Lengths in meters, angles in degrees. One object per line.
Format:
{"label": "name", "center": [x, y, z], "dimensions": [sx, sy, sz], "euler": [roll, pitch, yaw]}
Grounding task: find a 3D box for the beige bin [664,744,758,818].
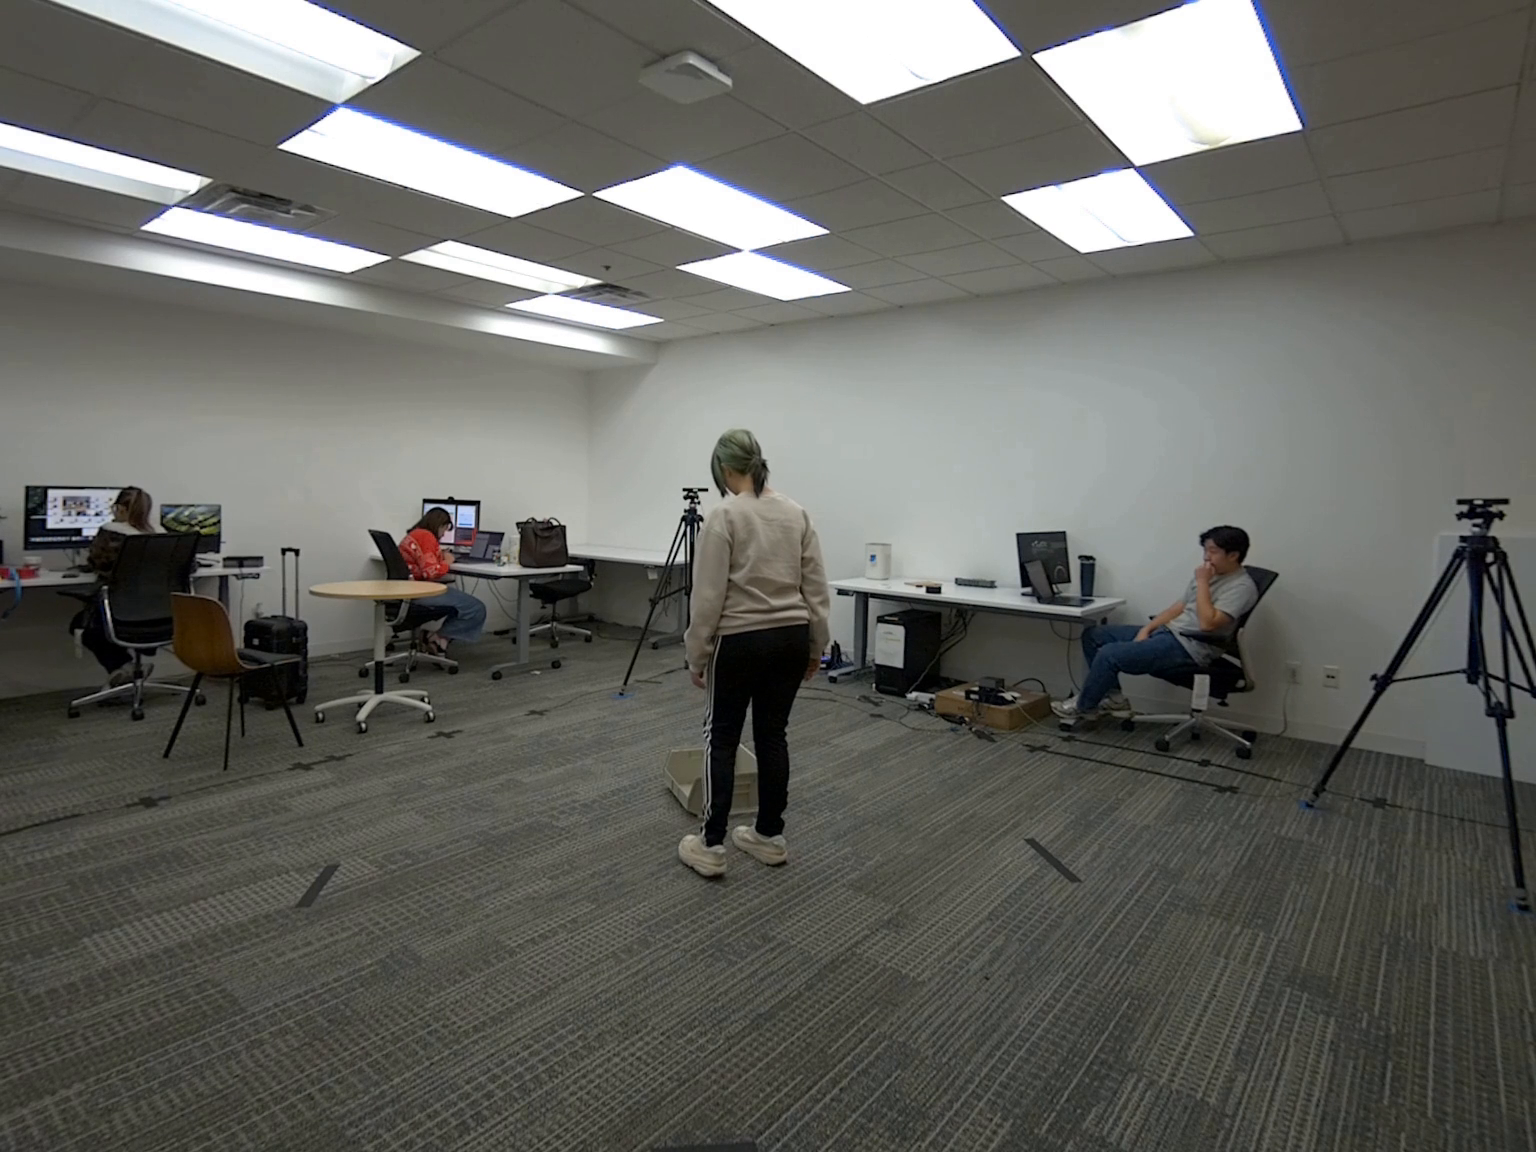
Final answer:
{"label": "beige bin", "center": [-0.247, 0.908, 3.825], "dimensions": [0.370, 0.188, 0.432], "euler": [0, 5, -20]}
